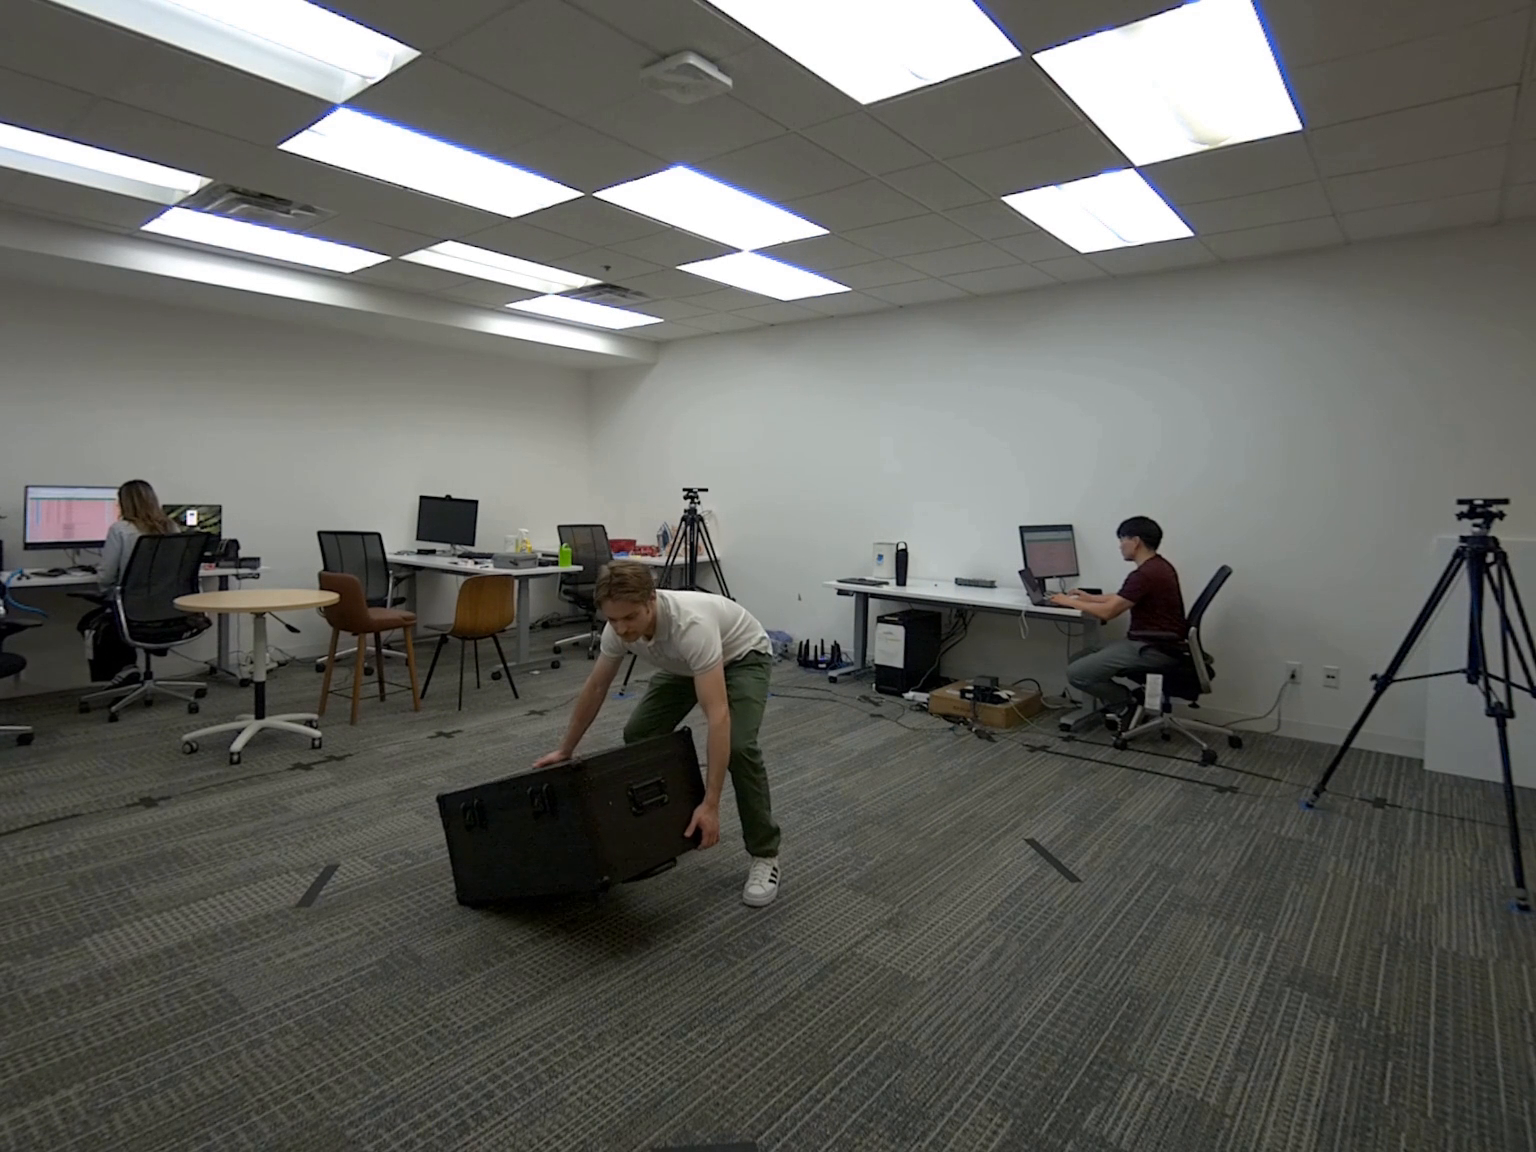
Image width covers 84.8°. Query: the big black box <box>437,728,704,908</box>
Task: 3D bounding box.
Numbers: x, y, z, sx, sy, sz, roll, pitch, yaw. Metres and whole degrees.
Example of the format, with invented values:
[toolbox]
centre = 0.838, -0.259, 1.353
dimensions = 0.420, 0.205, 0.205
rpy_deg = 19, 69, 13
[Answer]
[big black box]
centre = -0.674, 0.805, 2.812
dimensions = 0.884, 0.390, 0.508
rpy_deg = -22, -10, 38
